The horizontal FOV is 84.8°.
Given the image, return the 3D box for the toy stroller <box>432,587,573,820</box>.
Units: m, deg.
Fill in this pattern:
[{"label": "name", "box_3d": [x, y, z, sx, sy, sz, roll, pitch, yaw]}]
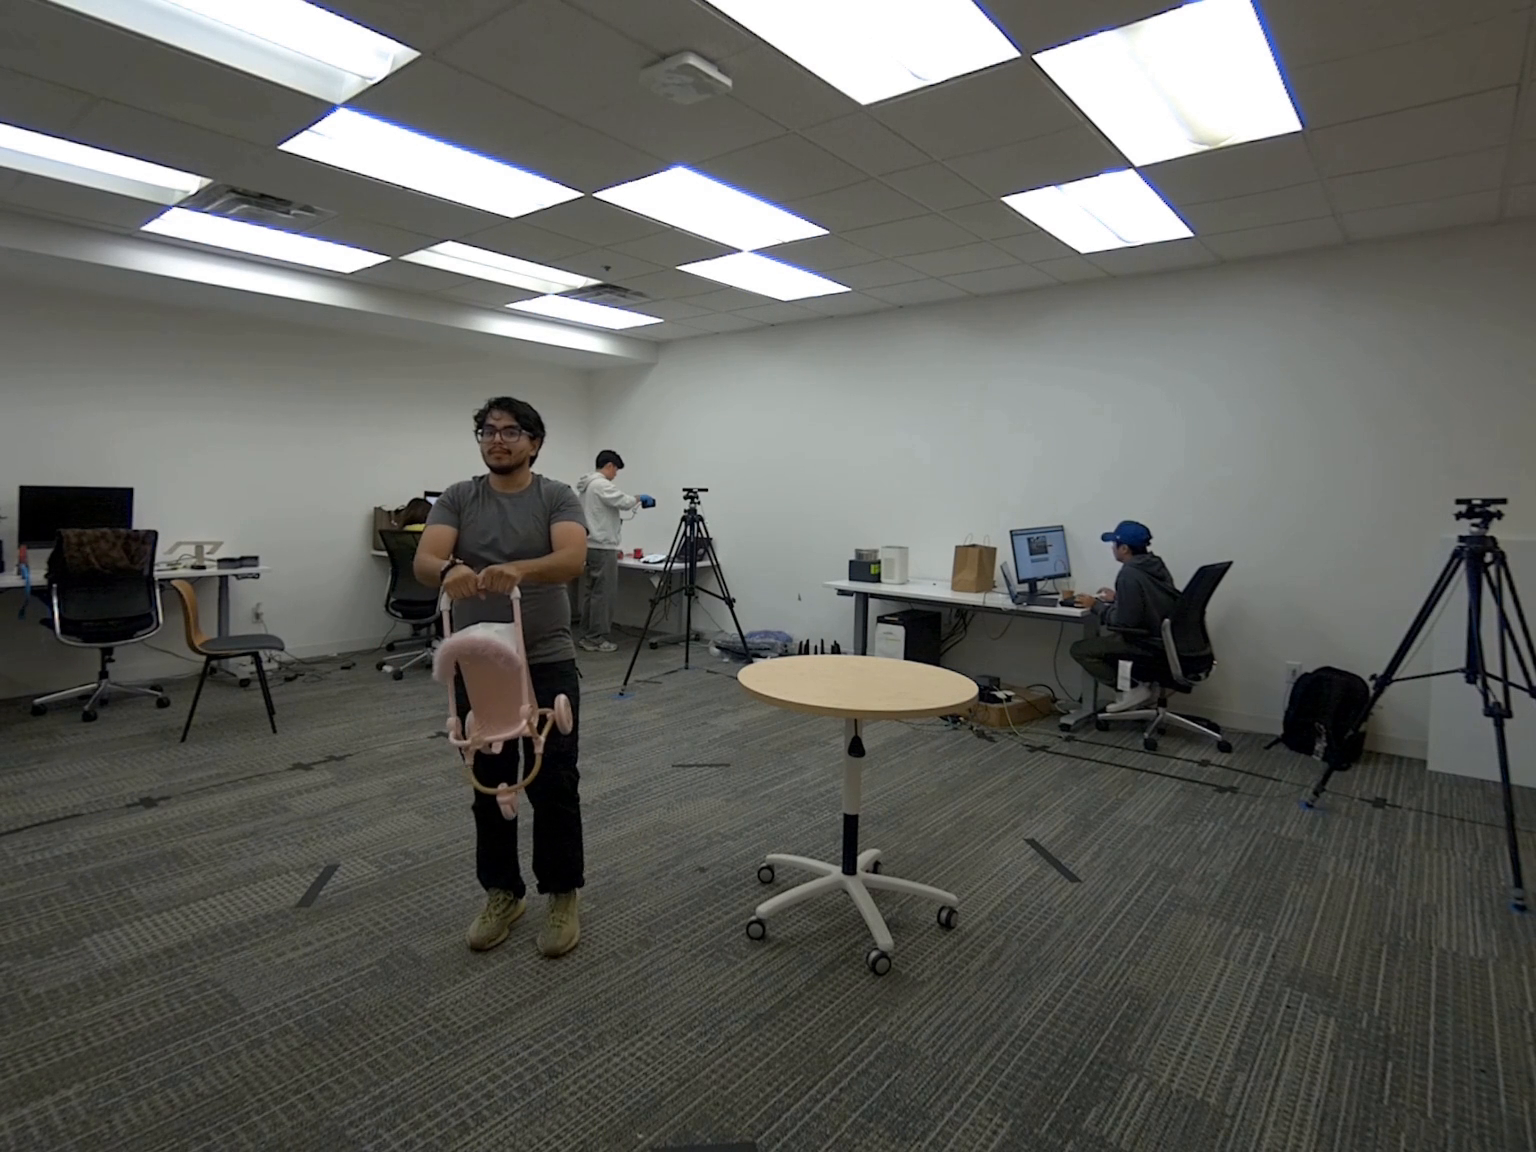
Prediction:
[{"label": "toy stroller", "box_3d": [-0.720, 0.322, 2.190, 0.283, 0.520, 0.349, -7, 28, 5]}]
